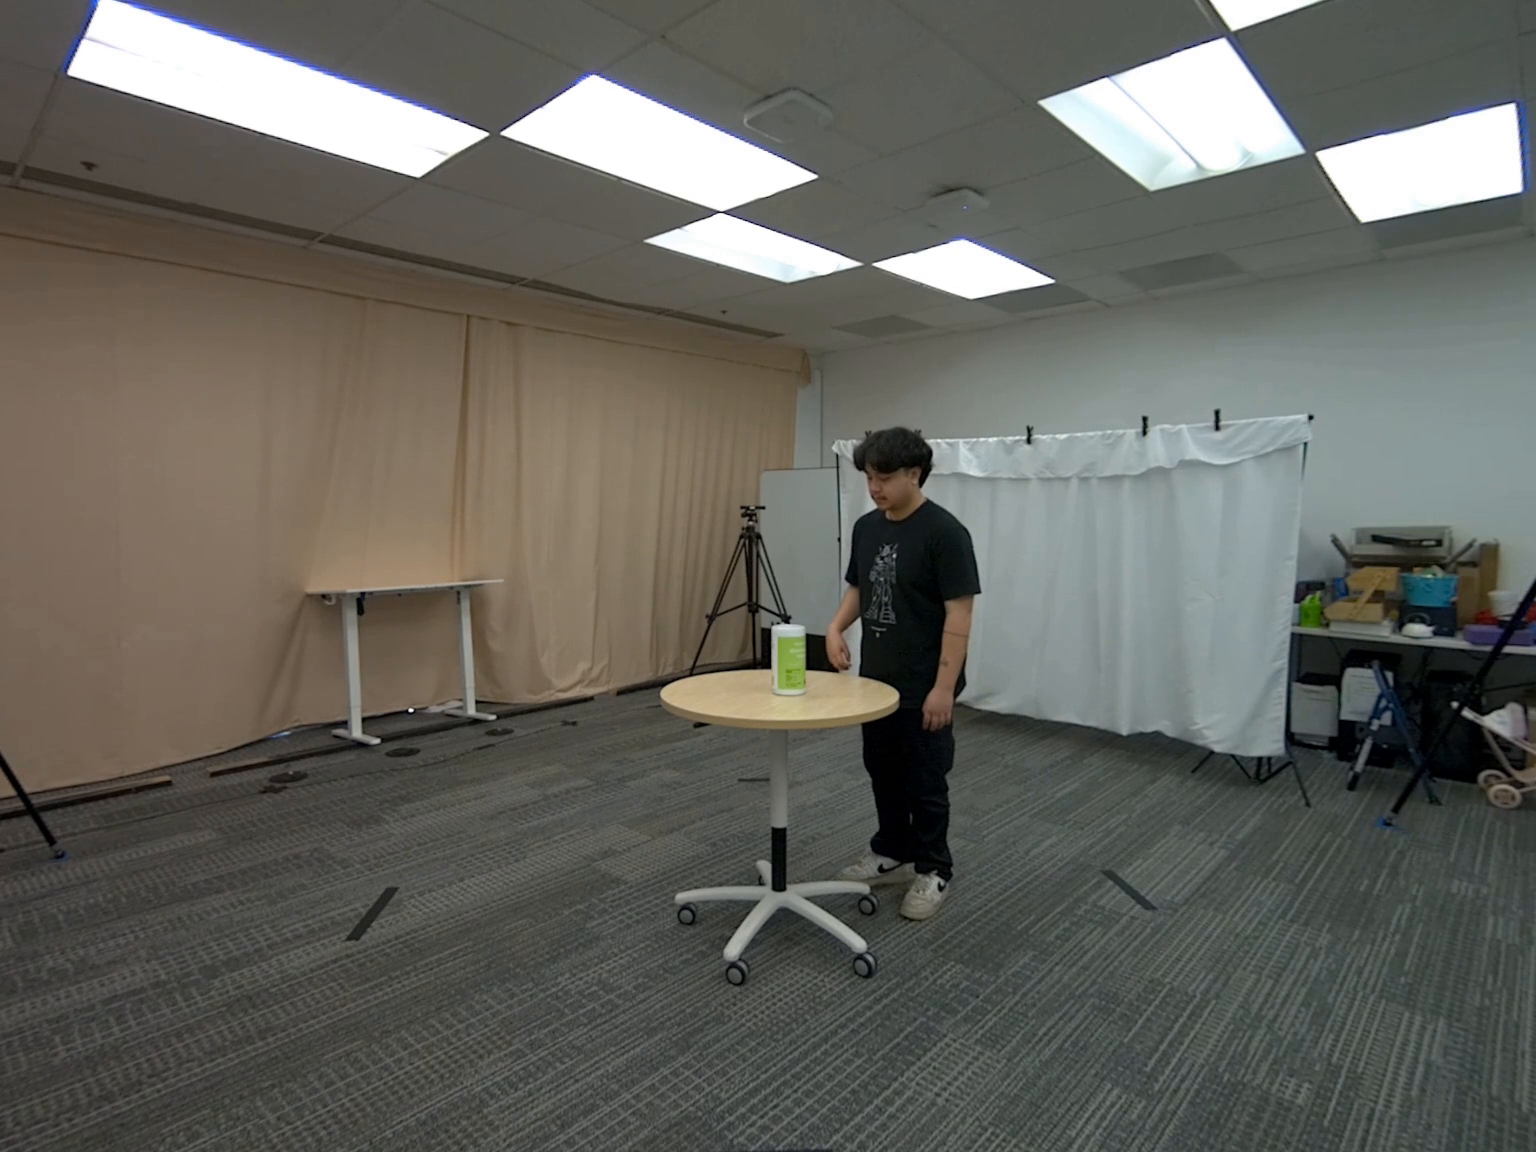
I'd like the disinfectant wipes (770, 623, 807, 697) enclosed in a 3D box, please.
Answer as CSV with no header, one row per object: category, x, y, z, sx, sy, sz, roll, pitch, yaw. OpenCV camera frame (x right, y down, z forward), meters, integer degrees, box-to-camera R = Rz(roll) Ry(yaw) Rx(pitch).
disinfectant wipes,0.071,0.272,2.702,0.118,0.217,0.118,0,4,-2
